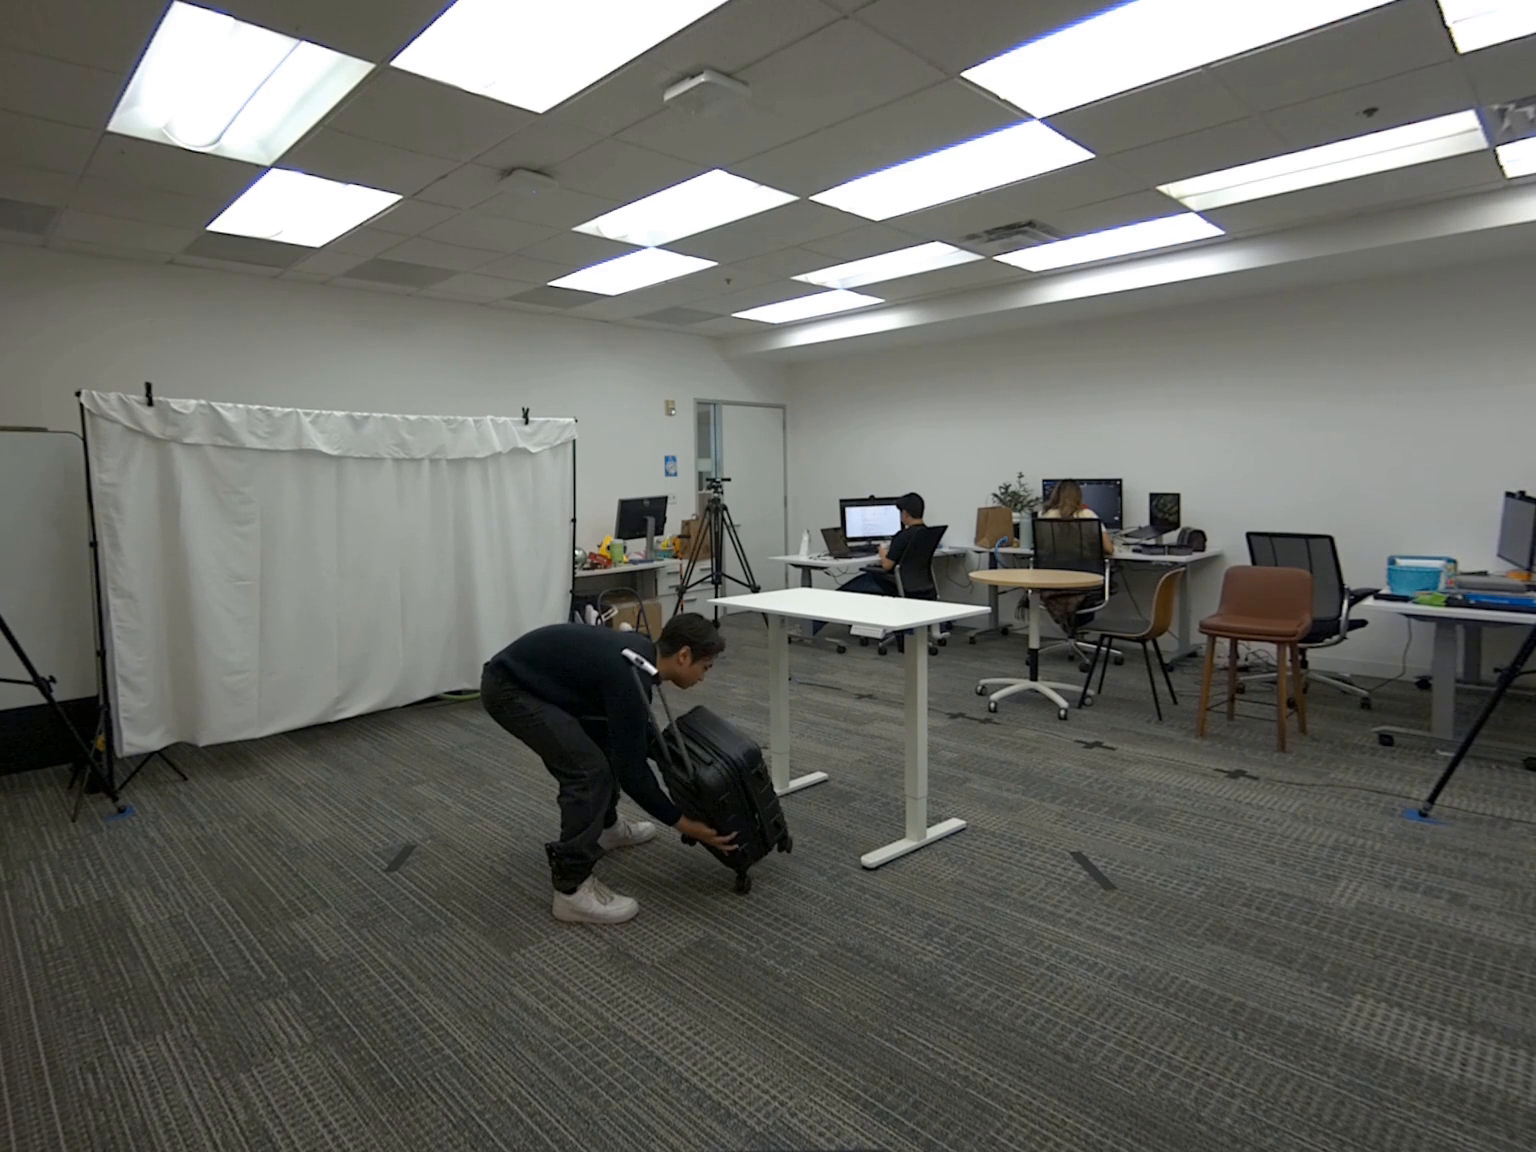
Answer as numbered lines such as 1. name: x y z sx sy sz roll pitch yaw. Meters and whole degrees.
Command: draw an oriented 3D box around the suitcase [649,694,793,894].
1. suitcase: -0.204 0.568 2.808 0.255 0.949 0.399 -33 38 -28
